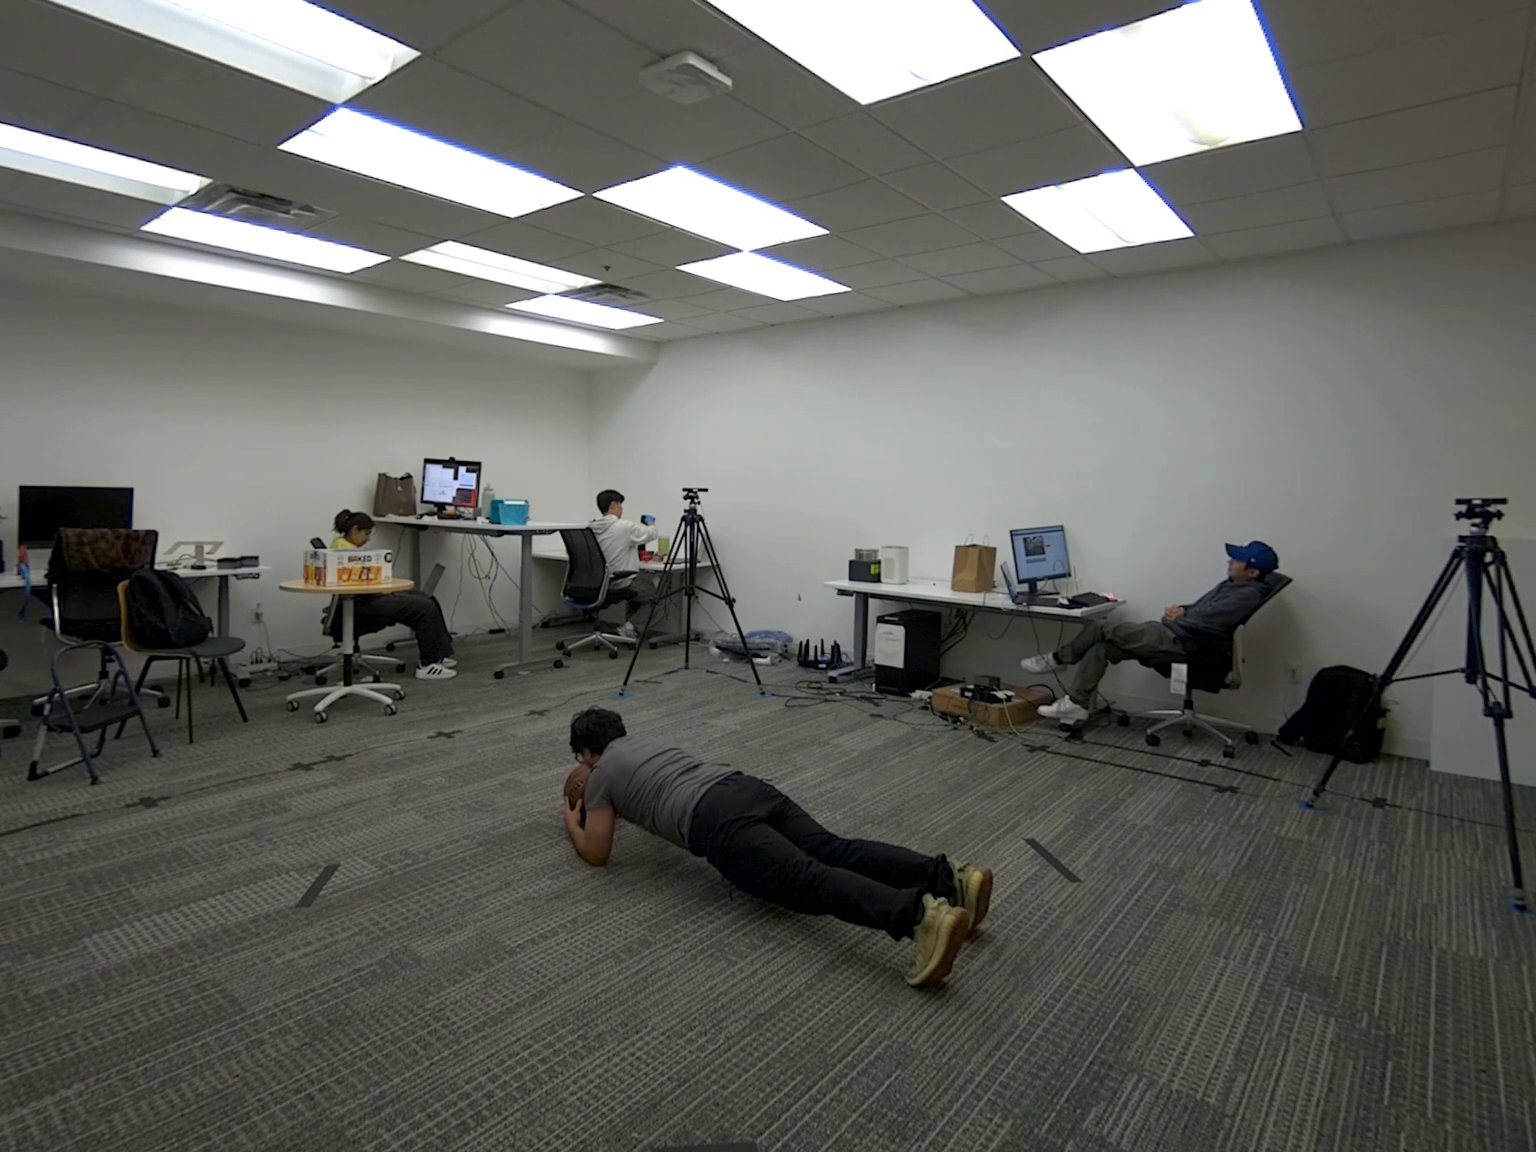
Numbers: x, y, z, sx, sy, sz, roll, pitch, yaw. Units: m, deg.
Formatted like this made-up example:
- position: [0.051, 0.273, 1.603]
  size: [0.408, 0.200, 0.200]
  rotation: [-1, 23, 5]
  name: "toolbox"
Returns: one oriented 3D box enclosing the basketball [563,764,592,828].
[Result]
- position: [-0.742, 0.895, 3.550]
  size: [0.235, 0.235, 0.237]
  rotation: [1, 4, -2]
  name: "basketball"
